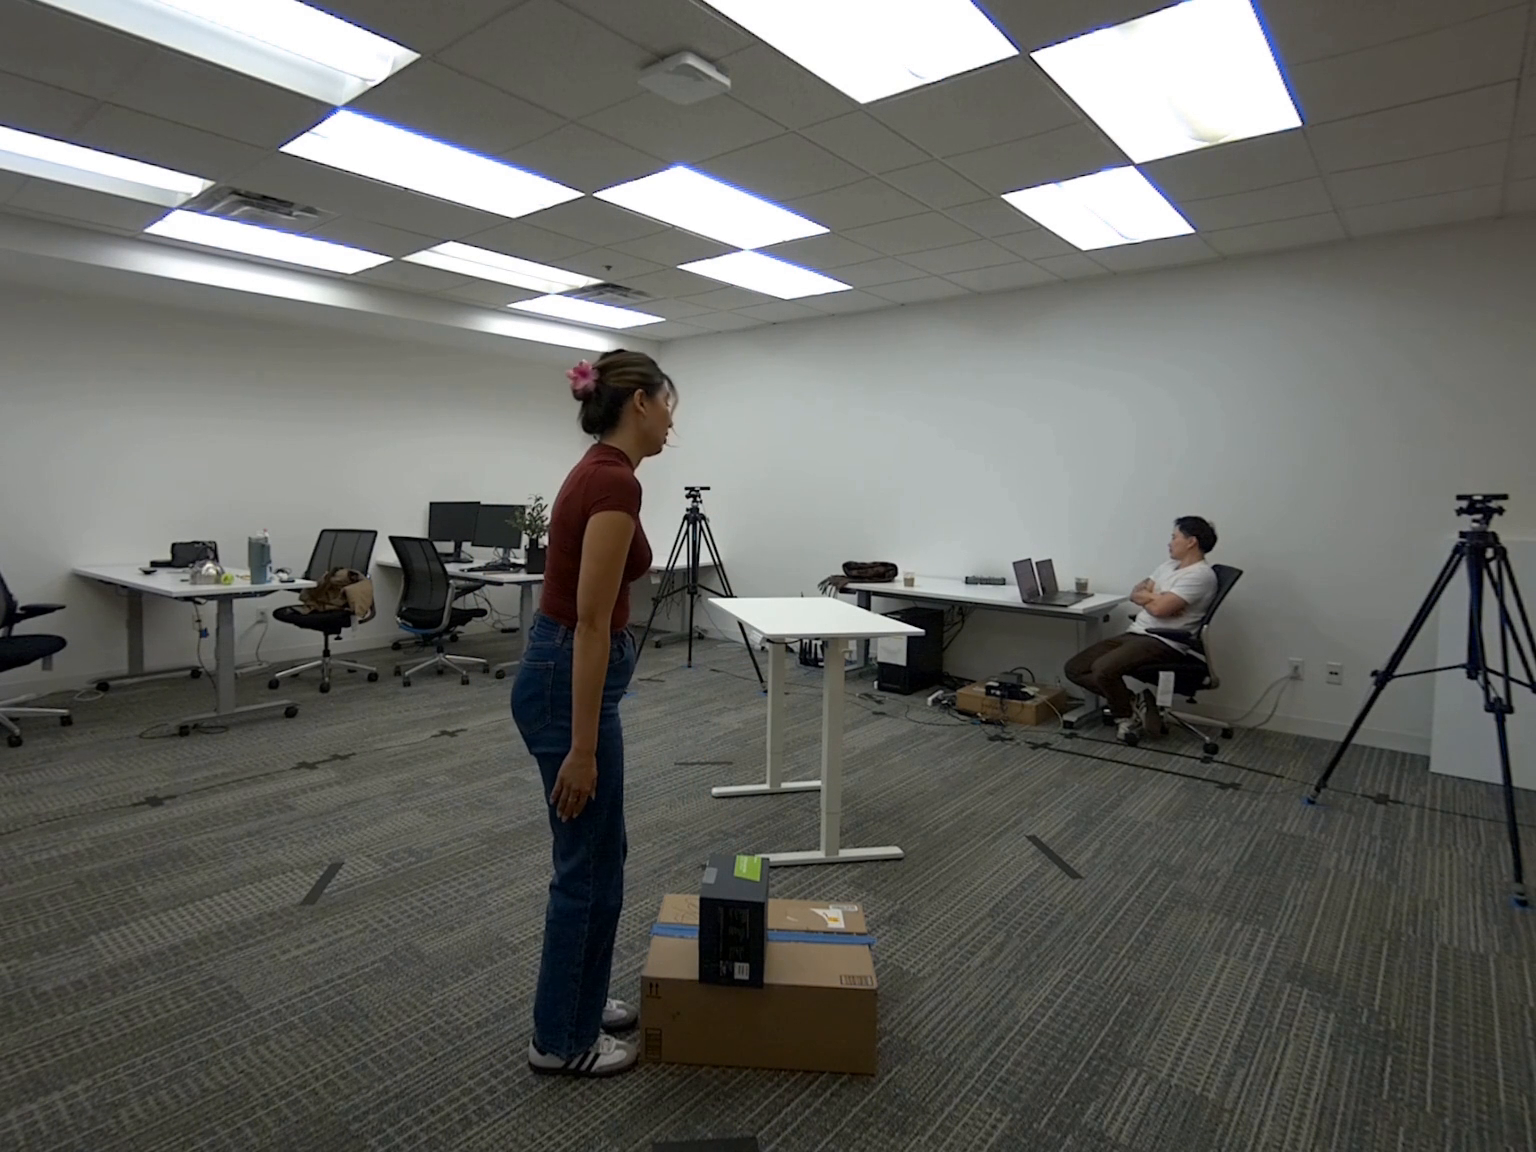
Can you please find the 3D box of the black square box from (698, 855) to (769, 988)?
[{"bbox_3d":[-0.088,0.843,2.101,0.157,0.215,0.228,2,8,4],"label":"black square box"}]
